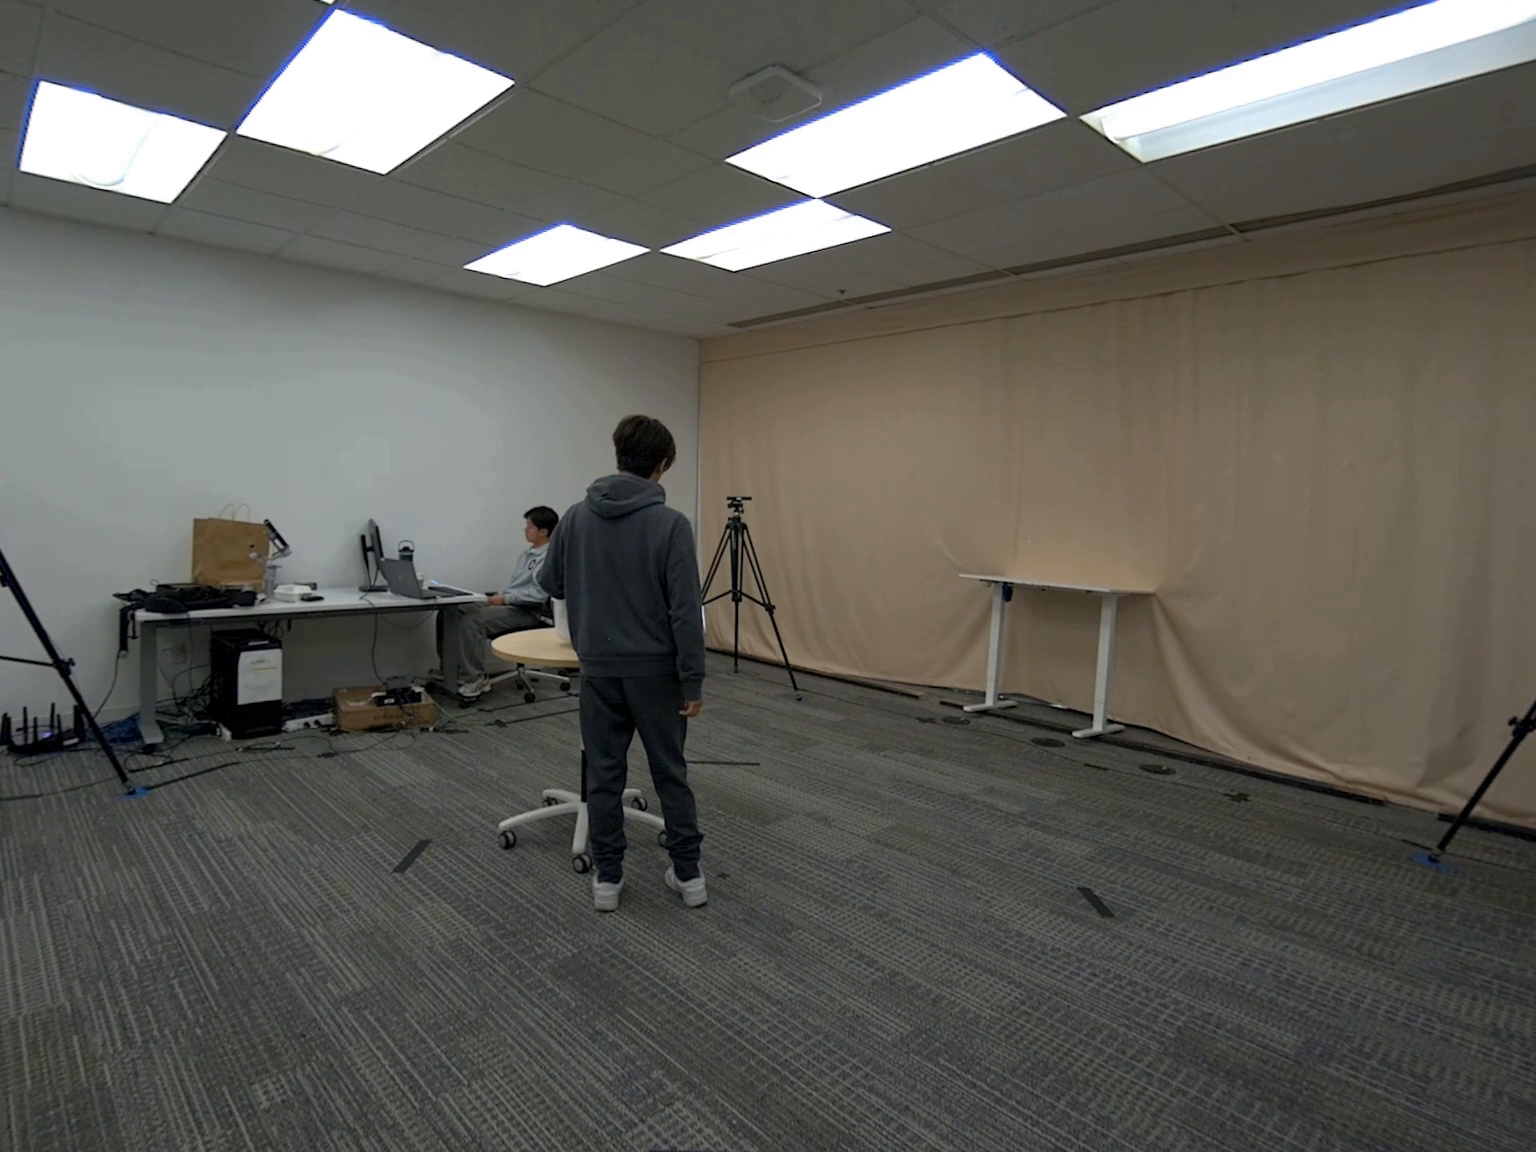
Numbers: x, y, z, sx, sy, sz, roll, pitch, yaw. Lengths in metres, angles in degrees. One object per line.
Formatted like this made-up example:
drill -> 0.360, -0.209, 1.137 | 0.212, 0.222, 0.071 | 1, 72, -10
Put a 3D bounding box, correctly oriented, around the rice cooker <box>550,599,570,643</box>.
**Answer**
rice cooker -> -0.728, 0.133, 3.322 | 0.223, 0.231, 0.216 | 7, 12, 37
